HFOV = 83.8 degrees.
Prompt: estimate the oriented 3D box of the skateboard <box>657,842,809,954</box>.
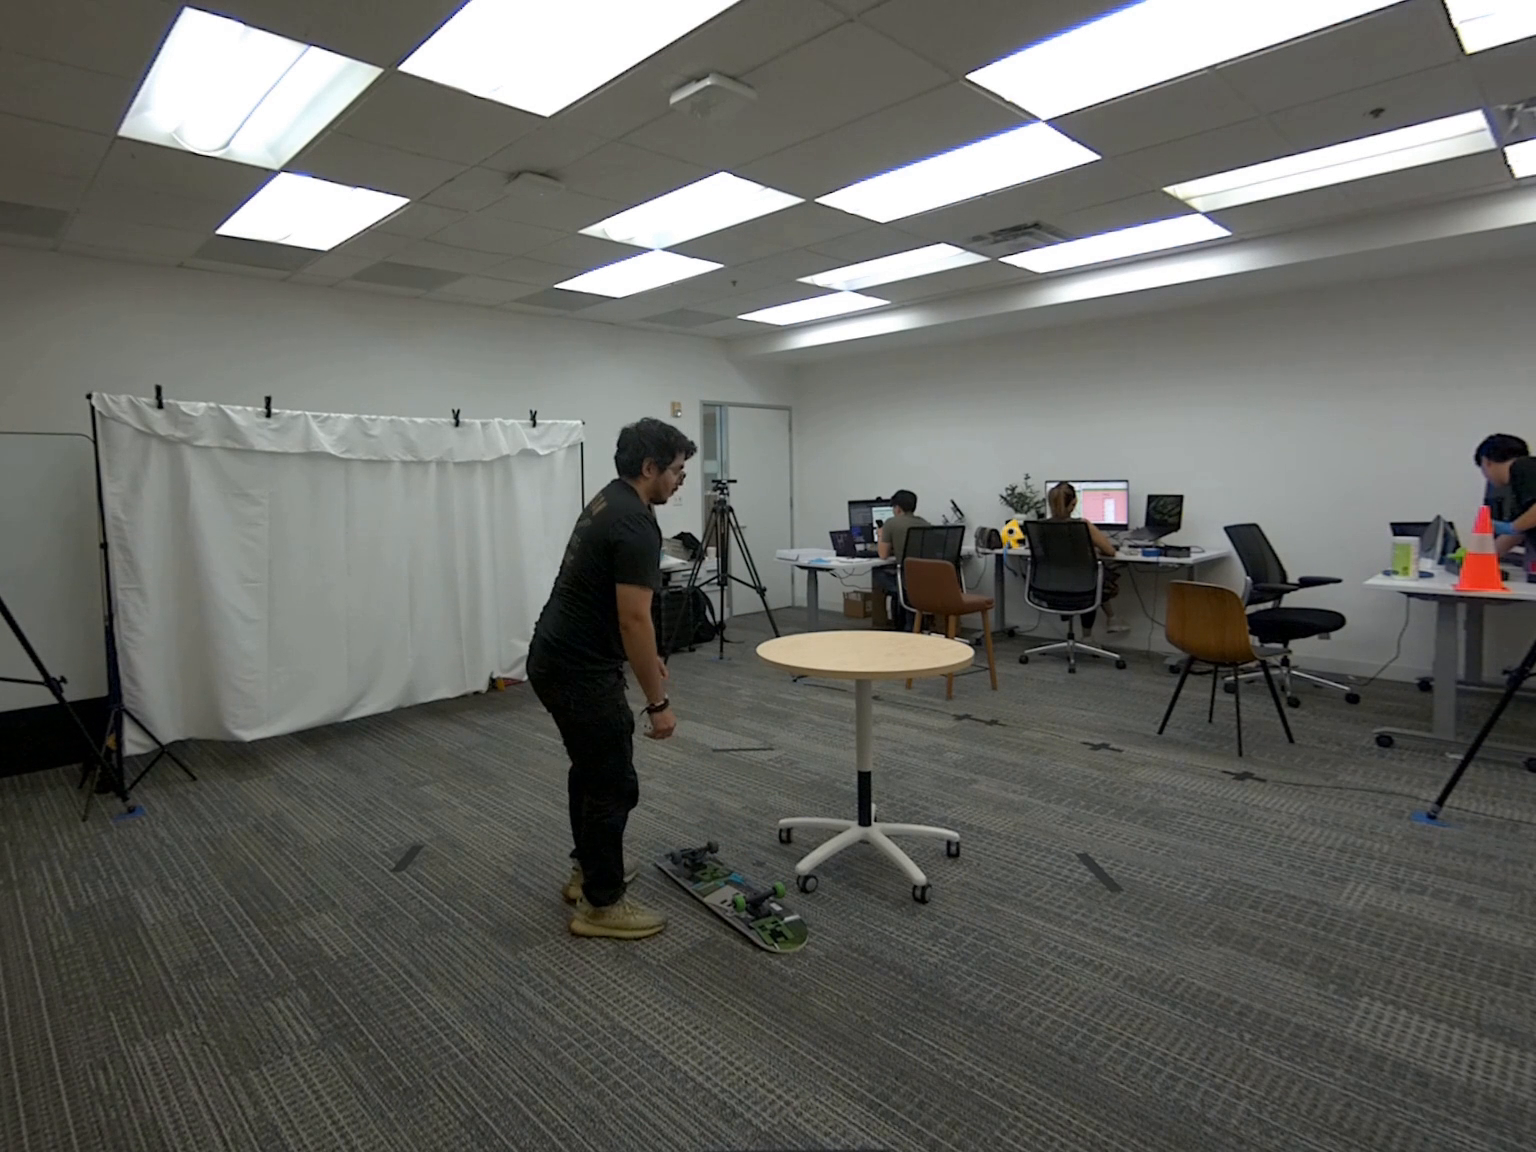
[{"bbox_3d":[-0.140,1.029,2.857,0.189,0.110,0.809,-6,8,-34],"label":"skateboard"}]
